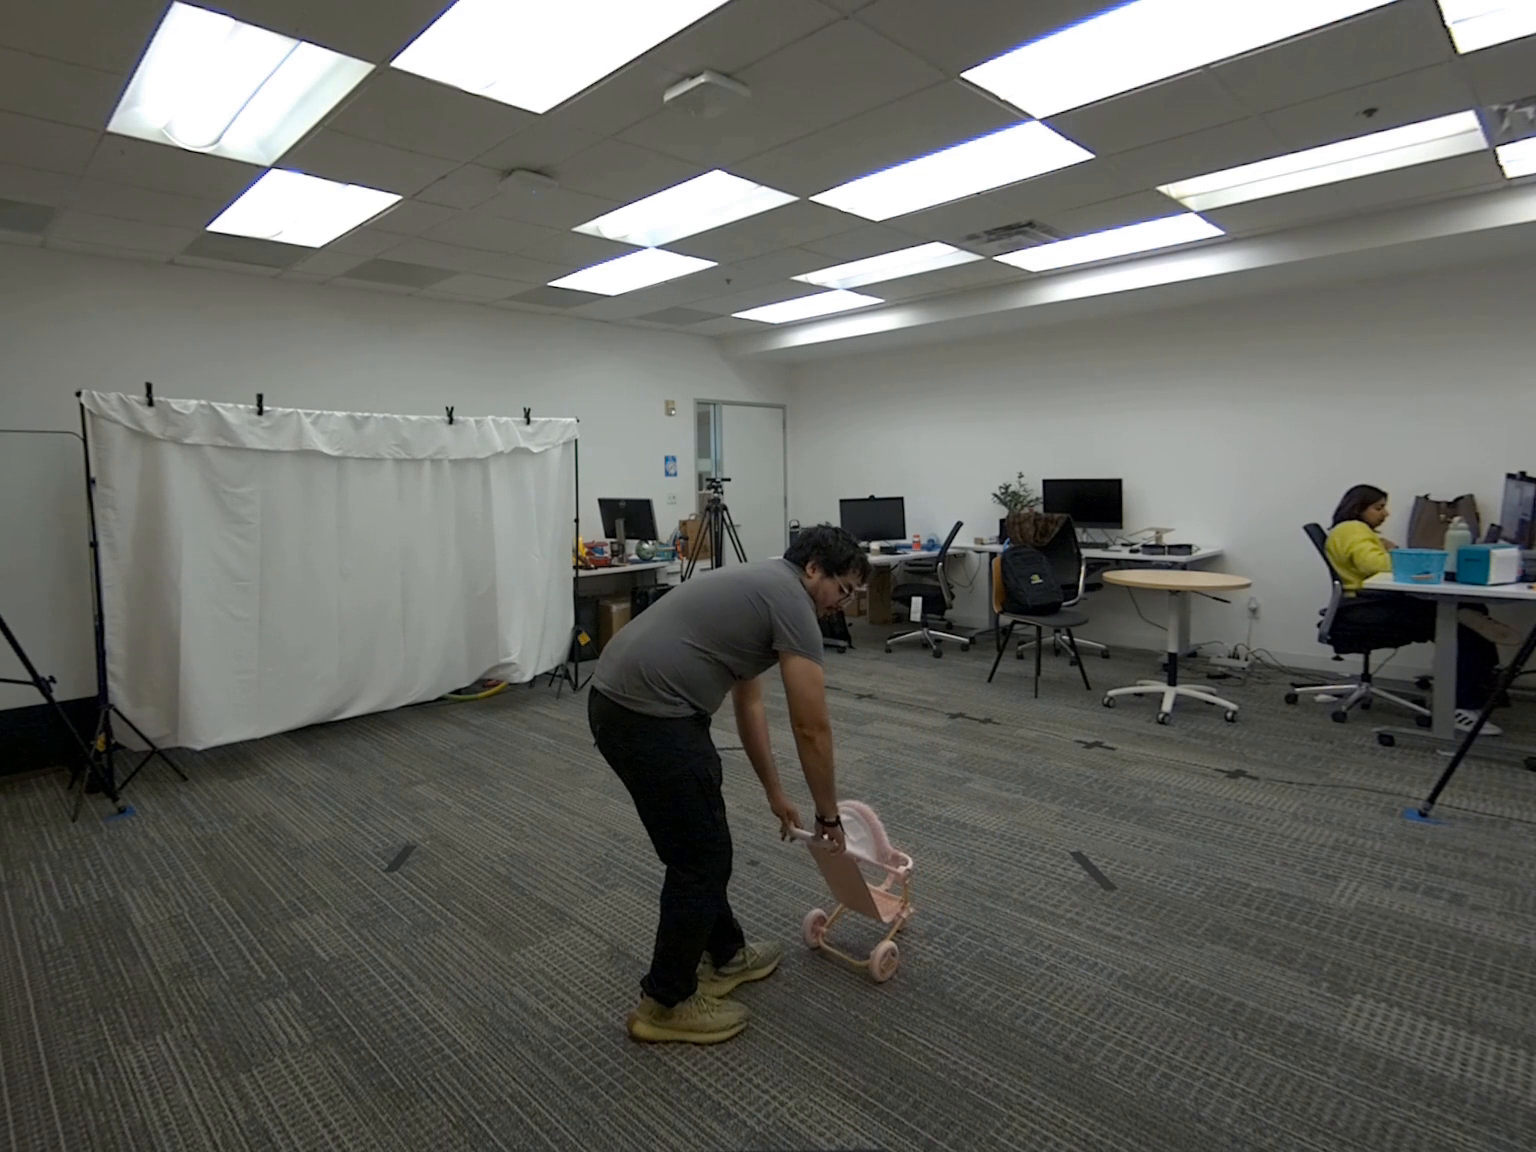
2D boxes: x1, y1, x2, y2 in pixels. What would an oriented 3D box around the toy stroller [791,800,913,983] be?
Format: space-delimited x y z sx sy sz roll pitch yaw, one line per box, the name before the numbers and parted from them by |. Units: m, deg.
toy stroller | 0.277 0.885 2.484 0.336 0.527 0.290 -25 18 -37
